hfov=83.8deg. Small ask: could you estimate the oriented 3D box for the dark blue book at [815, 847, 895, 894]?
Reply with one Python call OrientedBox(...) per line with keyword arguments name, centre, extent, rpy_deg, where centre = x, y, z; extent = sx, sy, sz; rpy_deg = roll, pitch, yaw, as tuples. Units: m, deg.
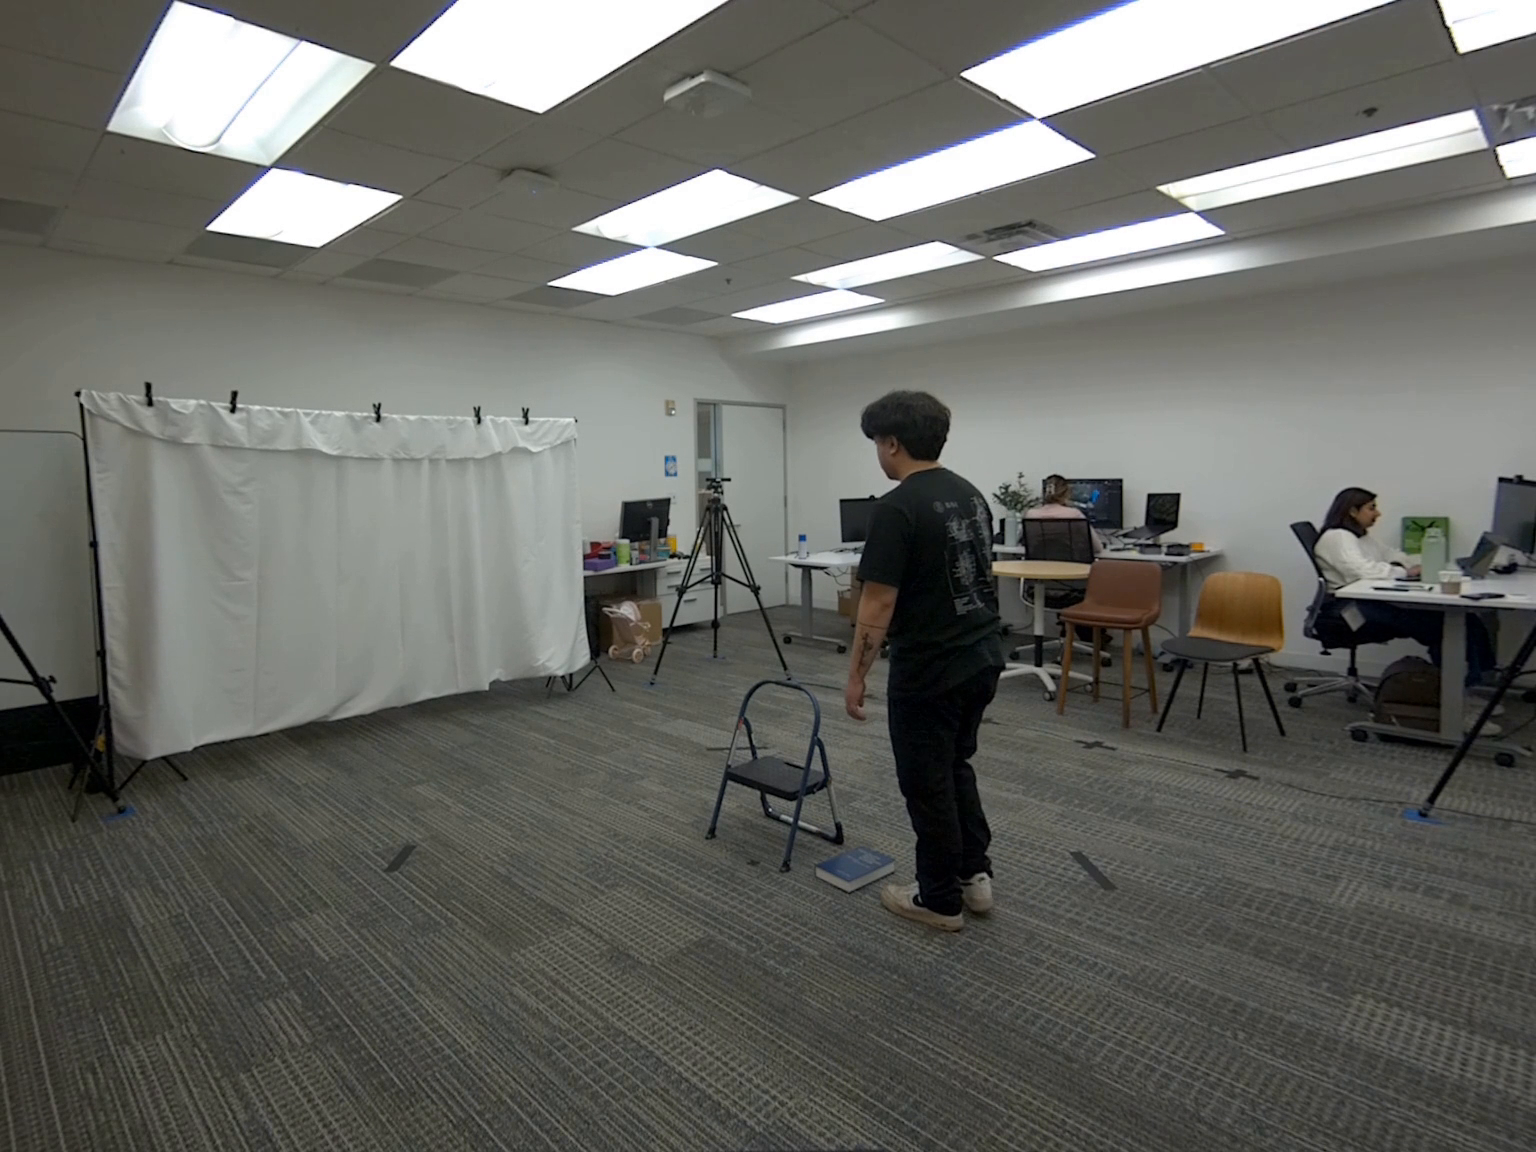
OrientedBox(name="dark blue book", centre=(0.314, 1.028, 2.996), extent=(0.239, 0.045, 0.168), rpy_deg=(-7, 8, -41))
